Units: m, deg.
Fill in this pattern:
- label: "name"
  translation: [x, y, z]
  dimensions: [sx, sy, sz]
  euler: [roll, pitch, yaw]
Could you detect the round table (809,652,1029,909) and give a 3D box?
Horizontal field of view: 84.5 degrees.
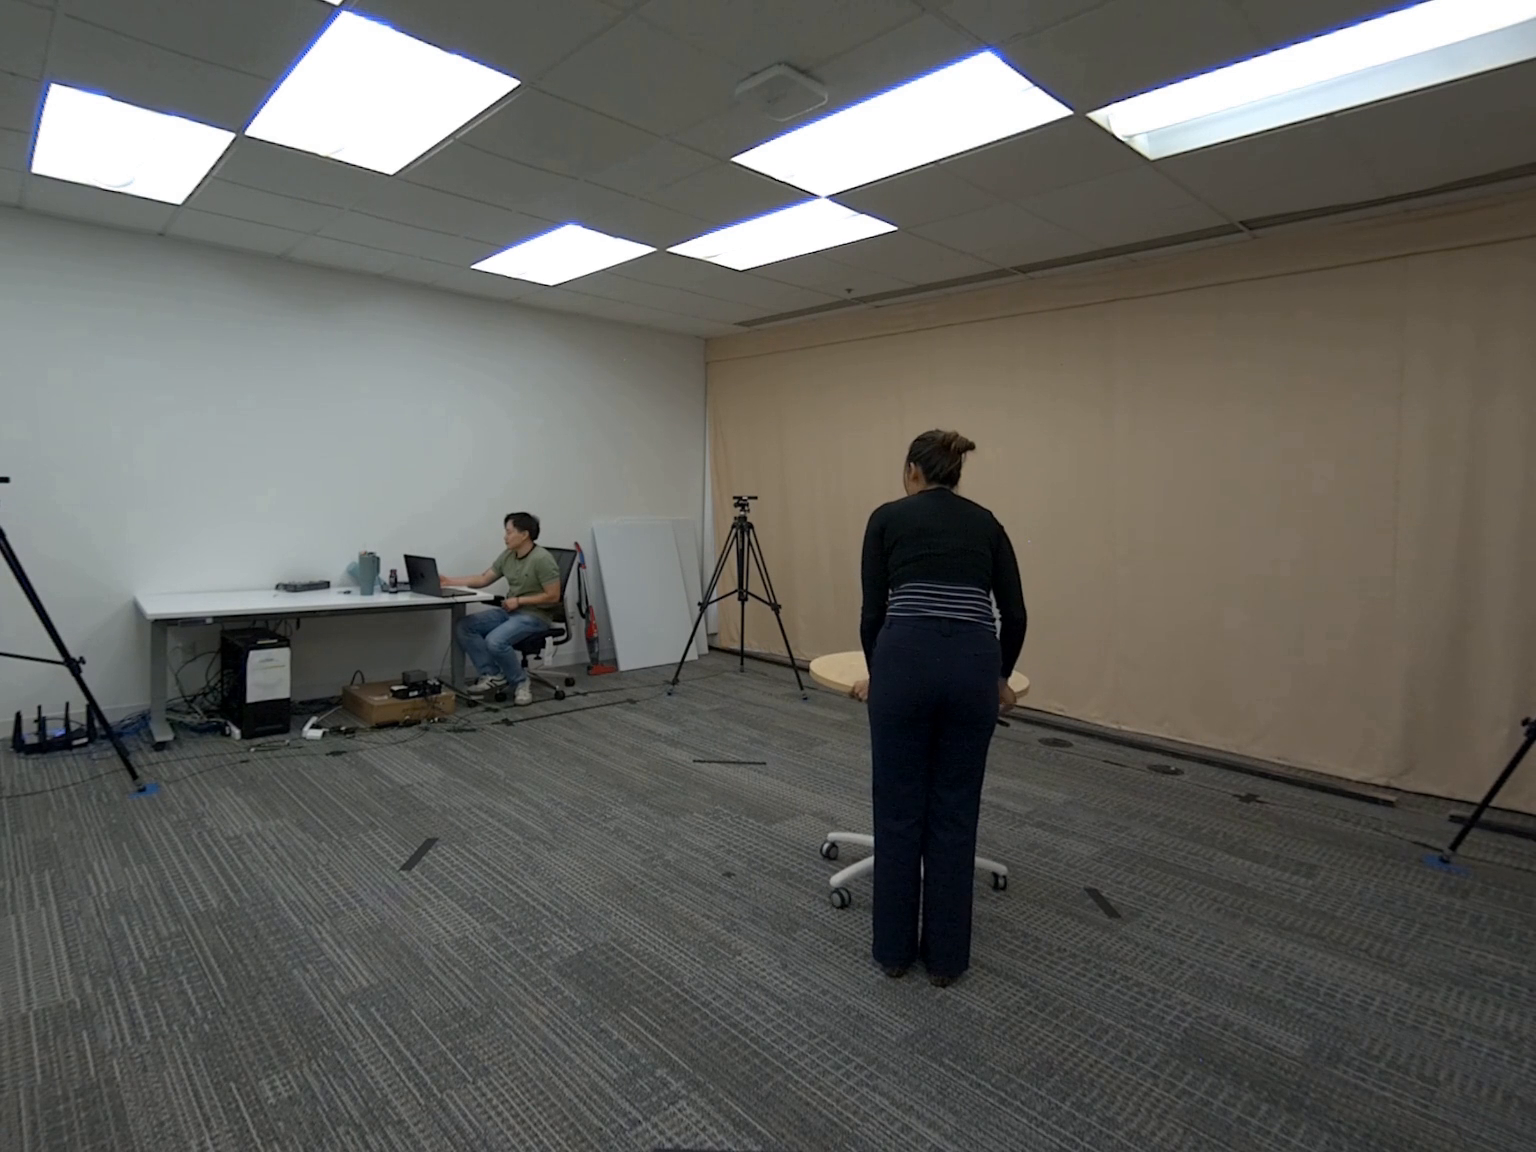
- label: "round table"
  translation: [0.515, 0.736, 3.051]
  dimensions: [0.763, 0.791, 0.767]
  euler: [2, 5, -2]
